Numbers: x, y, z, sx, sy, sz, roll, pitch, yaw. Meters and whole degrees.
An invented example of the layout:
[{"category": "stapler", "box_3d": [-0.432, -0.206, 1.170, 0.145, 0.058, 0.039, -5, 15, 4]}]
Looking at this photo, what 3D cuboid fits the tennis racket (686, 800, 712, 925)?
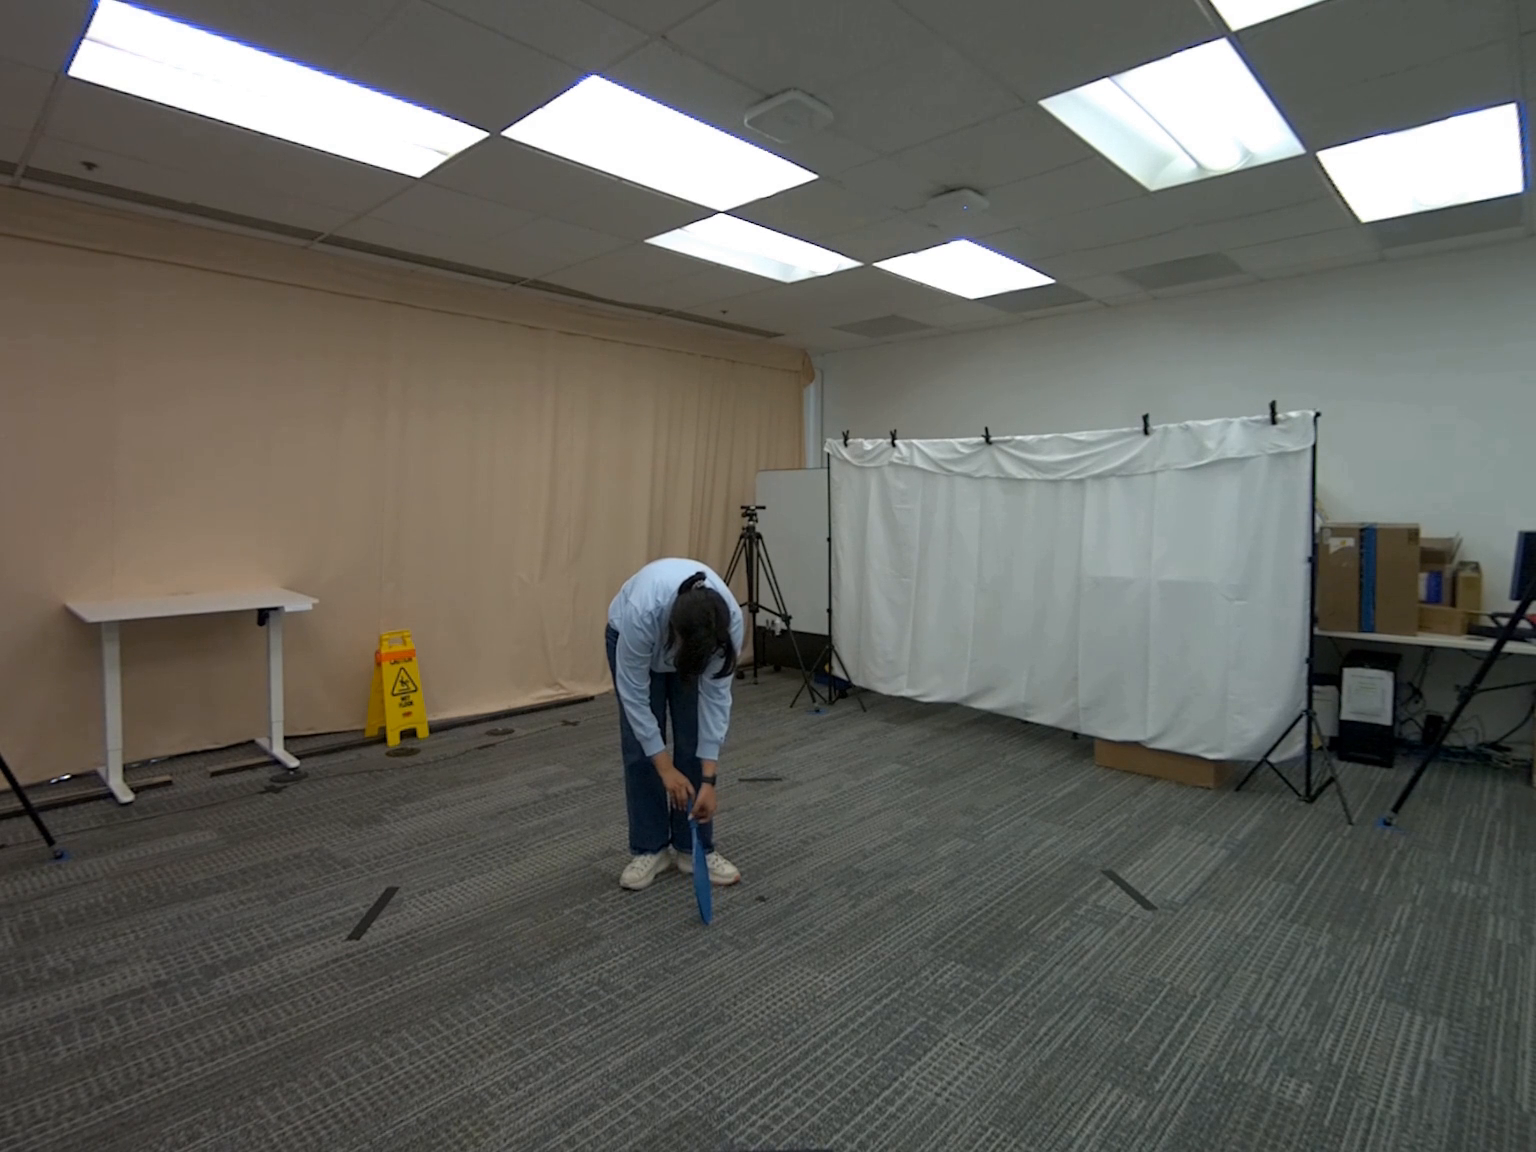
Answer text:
[{"category": "tennis racket", "box_3d": [-0.220, 0.941, 2.844, 0.032, 0.435, 0.211, -6, -7, 3]}]
